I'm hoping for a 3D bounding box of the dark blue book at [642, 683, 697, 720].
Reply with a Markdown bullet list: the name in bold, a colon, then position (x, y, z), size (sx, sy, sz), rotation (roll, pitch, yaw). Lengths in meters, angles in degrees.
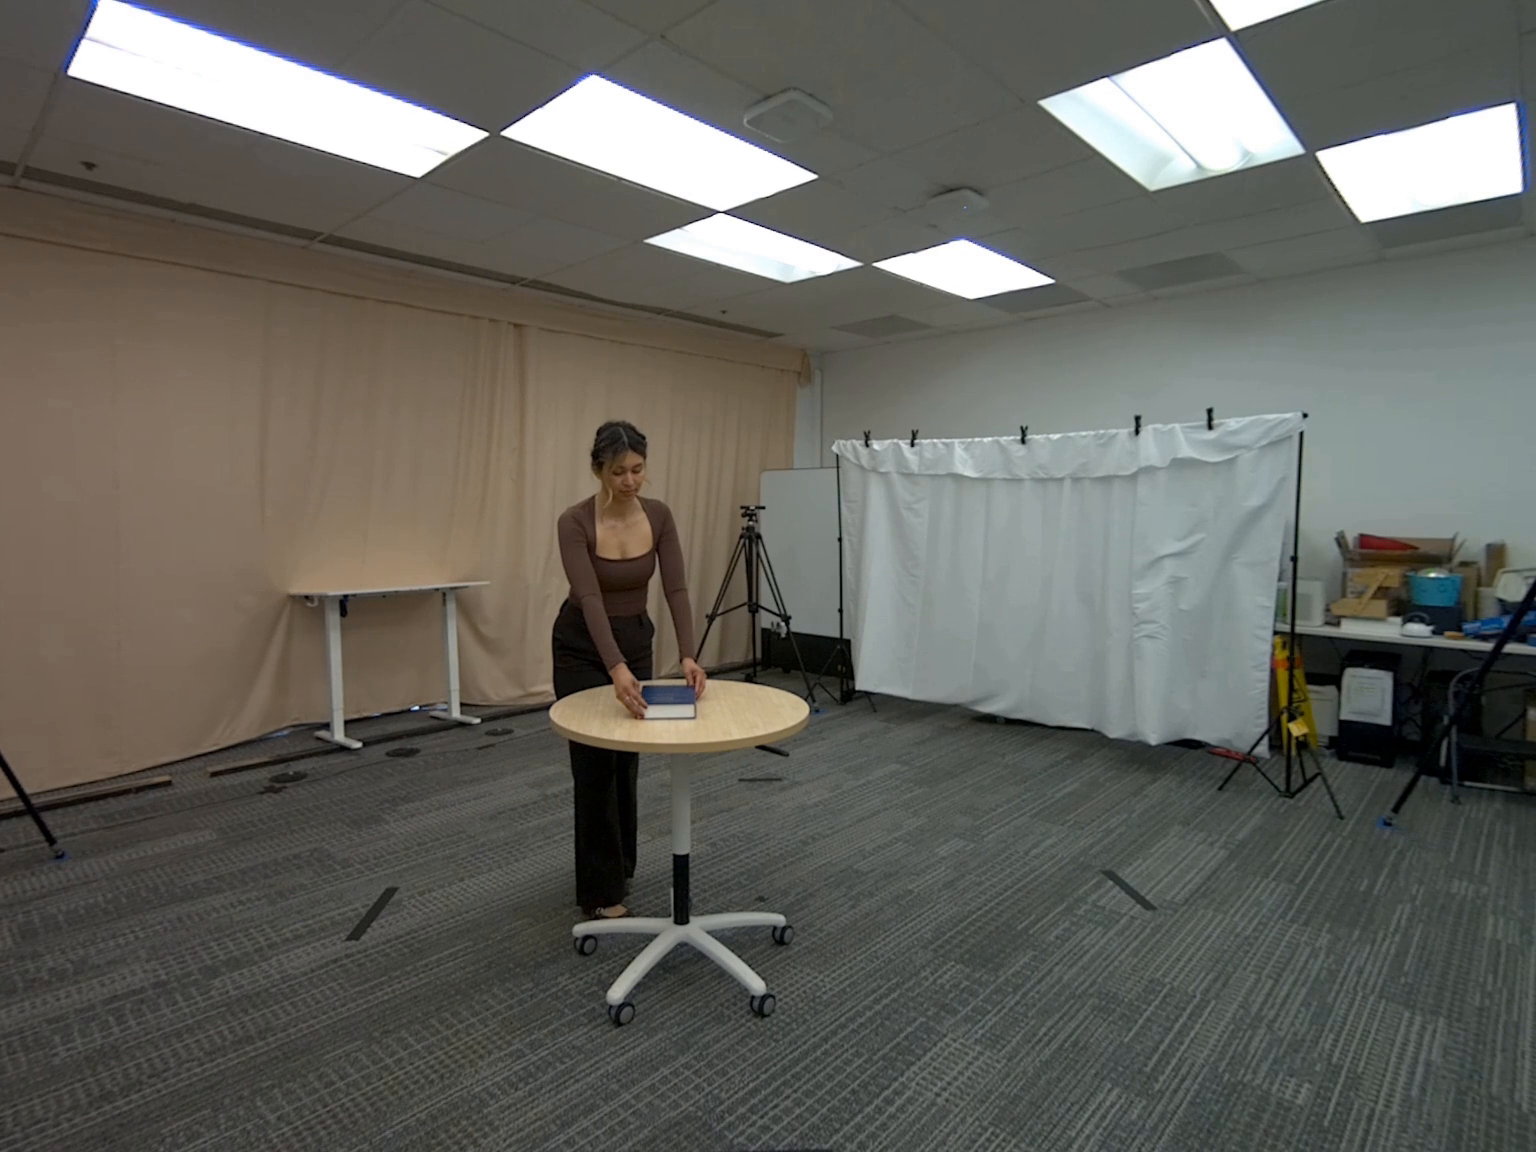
- **dark blue book**: position (-0.284, 0.373, 2.475), size (0.163, 0.045, 0.246), rotation (-1, 4, -2)
